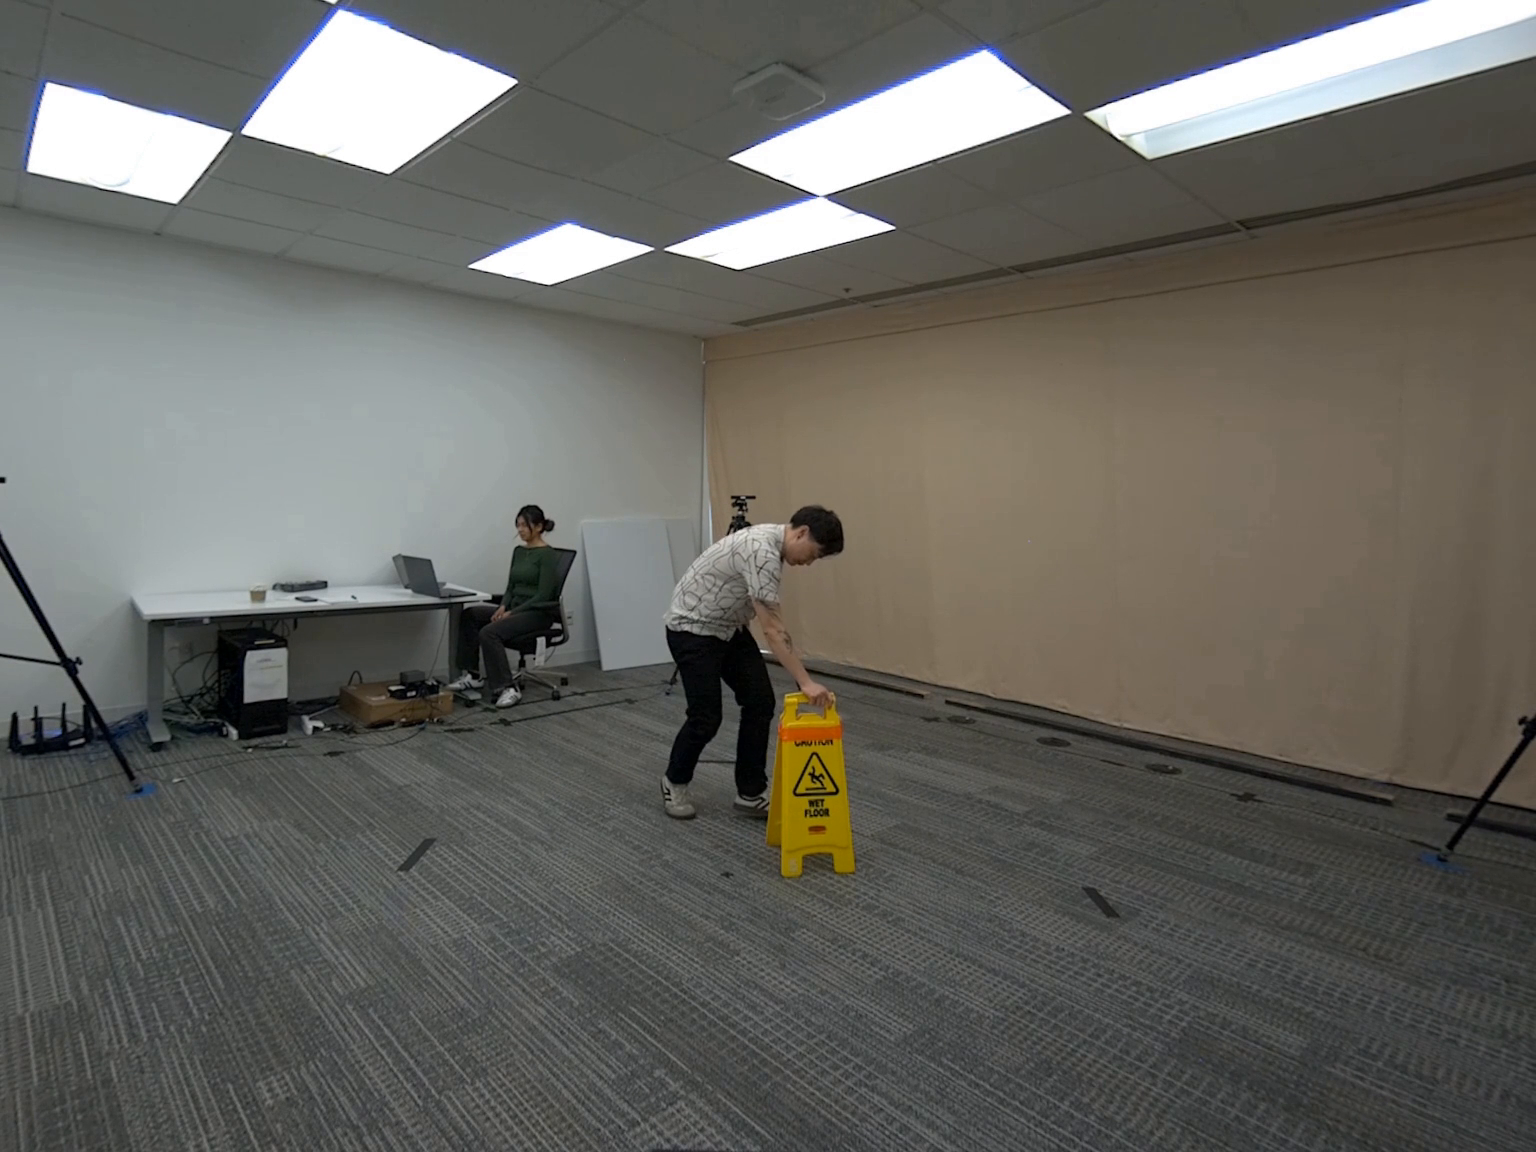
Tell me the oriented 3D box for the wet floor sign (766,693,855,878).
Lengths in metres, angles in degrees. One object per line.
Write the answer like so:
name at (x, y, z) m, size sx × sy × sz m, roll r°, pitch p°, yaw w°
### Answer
wet floor sign at (0.153, 0.768, 3.245) m, size 0.280 × 0.644 × 0.293 m, roll 1°, pitch 4°, yaw -11°
